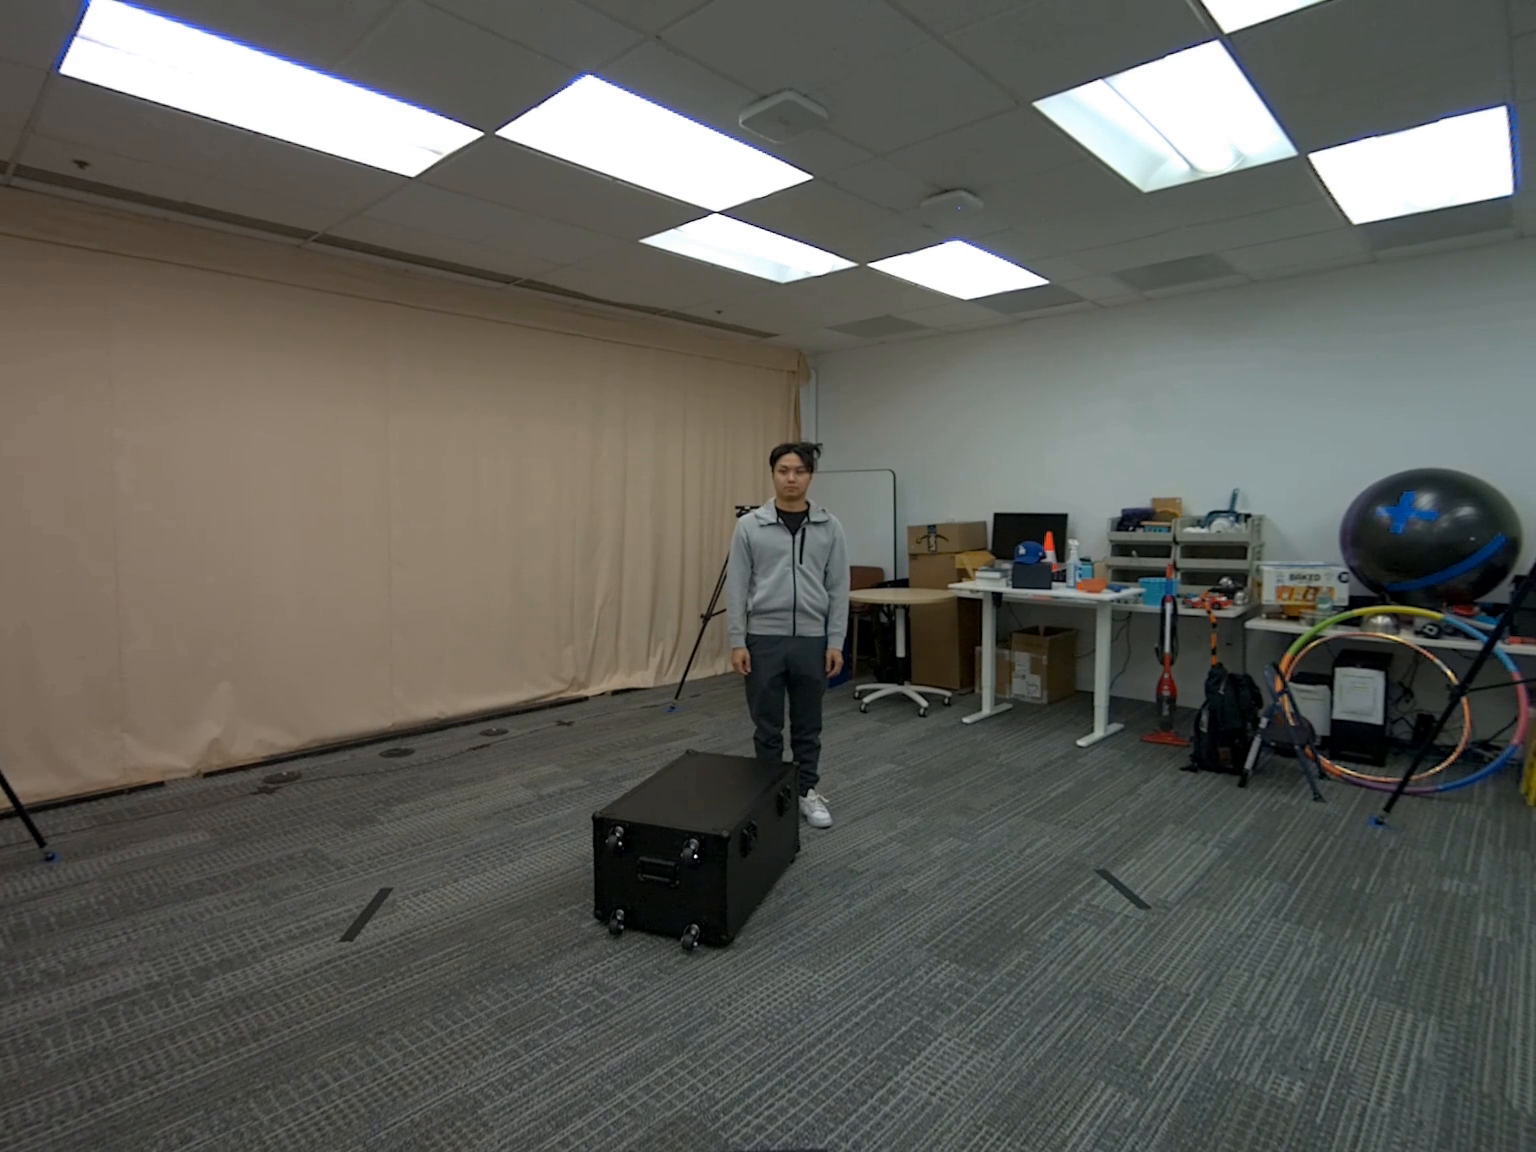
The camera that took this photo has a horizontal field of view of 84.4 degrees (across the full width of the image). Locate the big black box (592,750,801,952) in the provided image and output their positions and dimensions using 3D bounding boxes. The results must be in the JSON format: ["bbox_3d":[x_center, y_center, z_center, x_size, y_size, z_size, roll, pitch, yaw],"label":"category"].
[{"bbox_3d":[-0.216,0.945,3.087,0.533,0.395,0.845,2,6,20],"label":"big black box"}]
